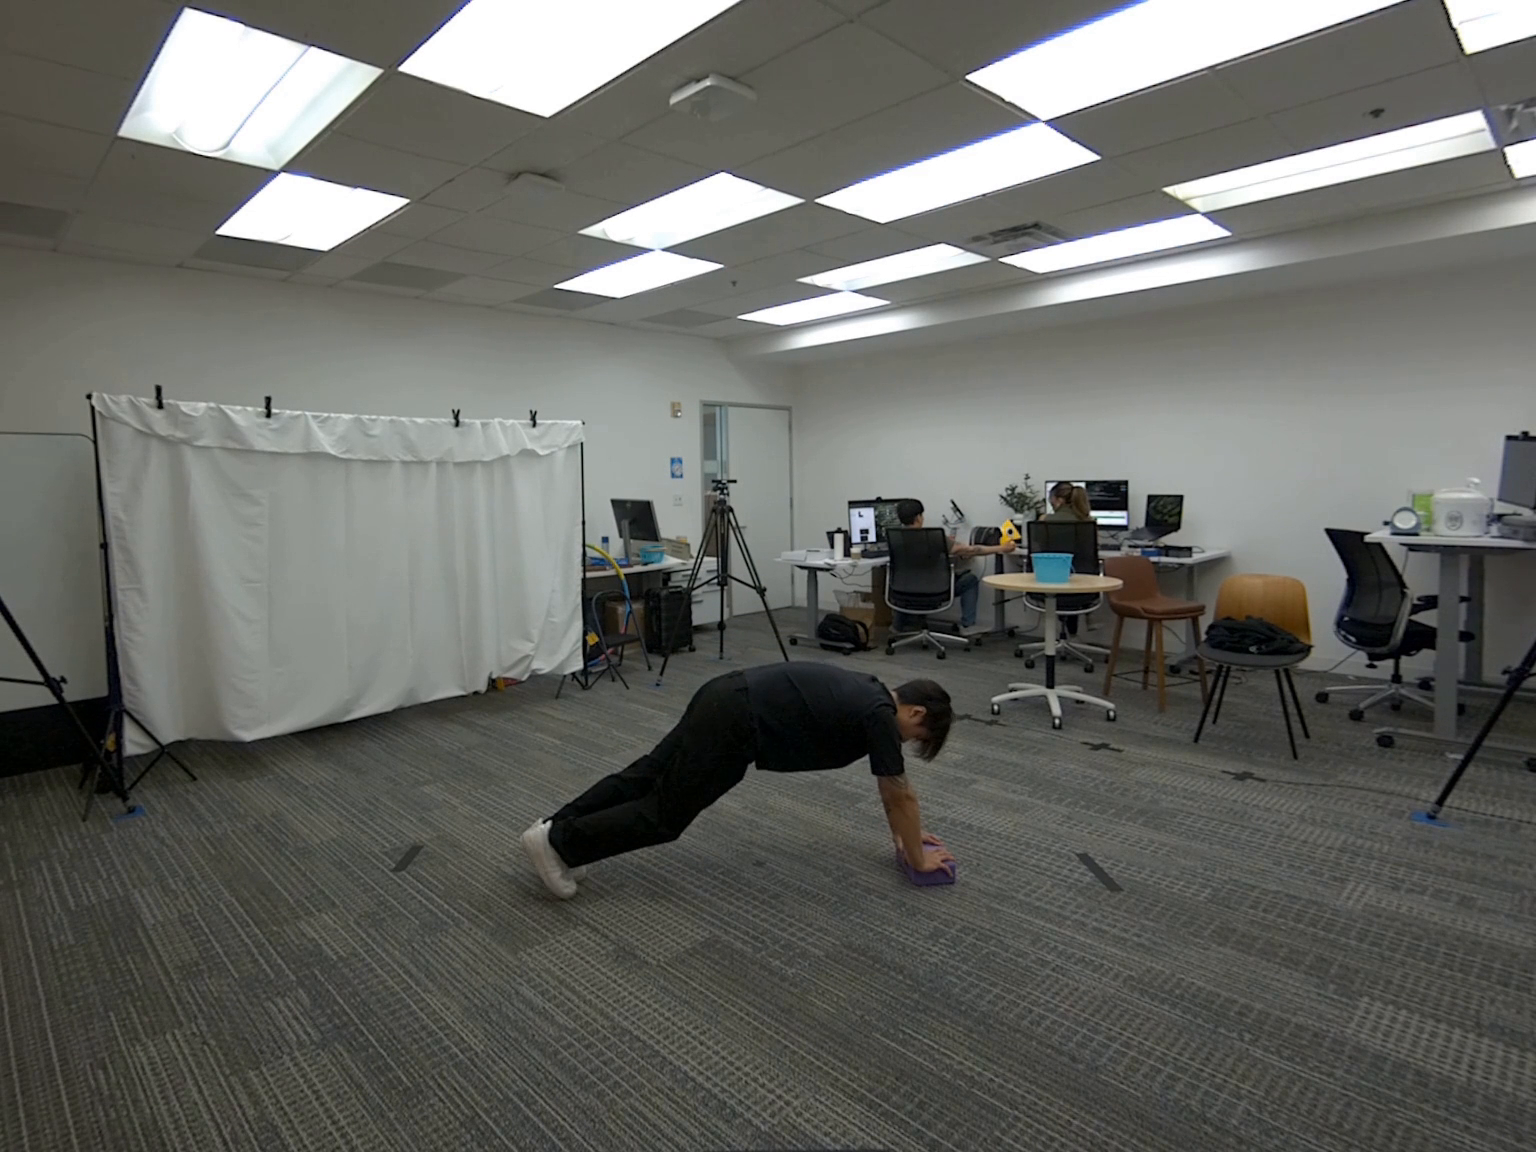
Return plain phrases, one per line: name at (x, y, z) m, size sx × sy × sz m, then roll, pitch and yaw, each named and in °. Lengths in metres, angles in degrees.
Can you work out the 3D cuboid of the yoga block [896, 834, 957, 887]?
yoga block at (0.553, 1.002, 3.022) m, size 0.148 × 0.076 × 0.231 m, roll 0°, pitch 4°, yaw -6°
